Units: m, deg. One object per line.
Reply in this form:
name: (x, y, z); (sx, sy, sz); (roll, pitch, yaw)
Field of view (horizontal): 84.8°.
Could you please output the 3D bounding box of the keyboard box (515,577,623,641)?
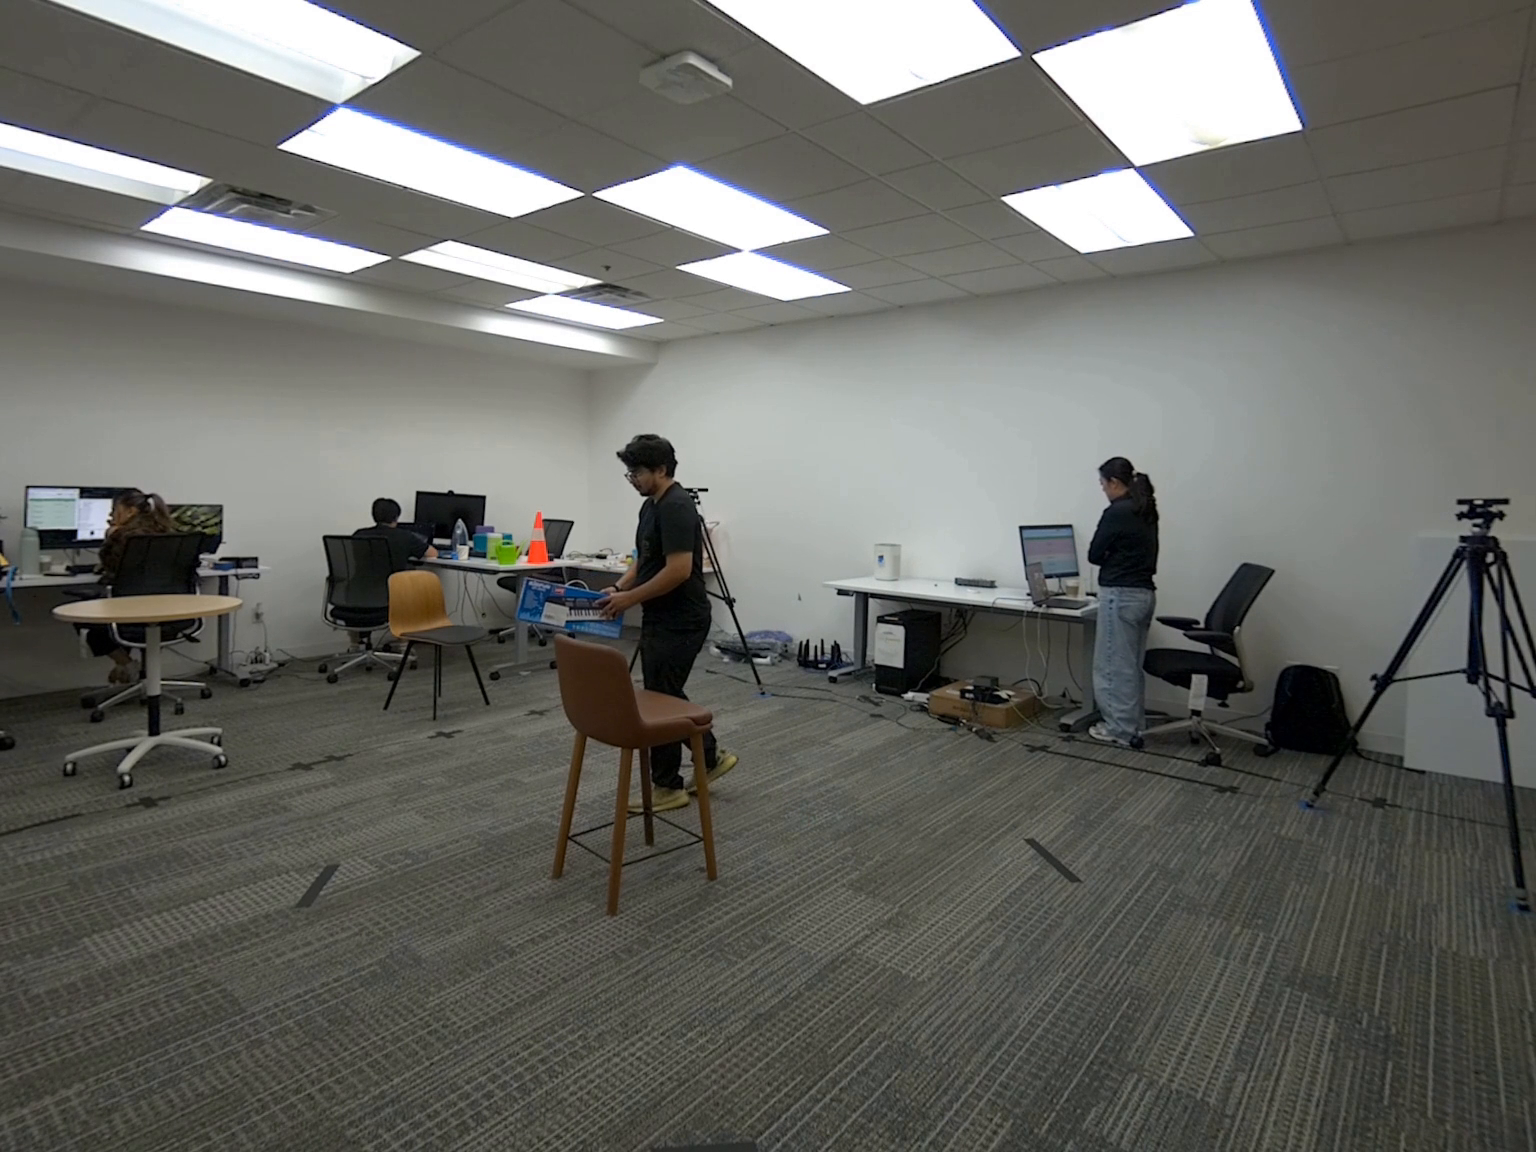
keyboard box: (-0.836, 0.133, 3.568); (0.425, 0.177, 0.060); (12, -6, -24)
